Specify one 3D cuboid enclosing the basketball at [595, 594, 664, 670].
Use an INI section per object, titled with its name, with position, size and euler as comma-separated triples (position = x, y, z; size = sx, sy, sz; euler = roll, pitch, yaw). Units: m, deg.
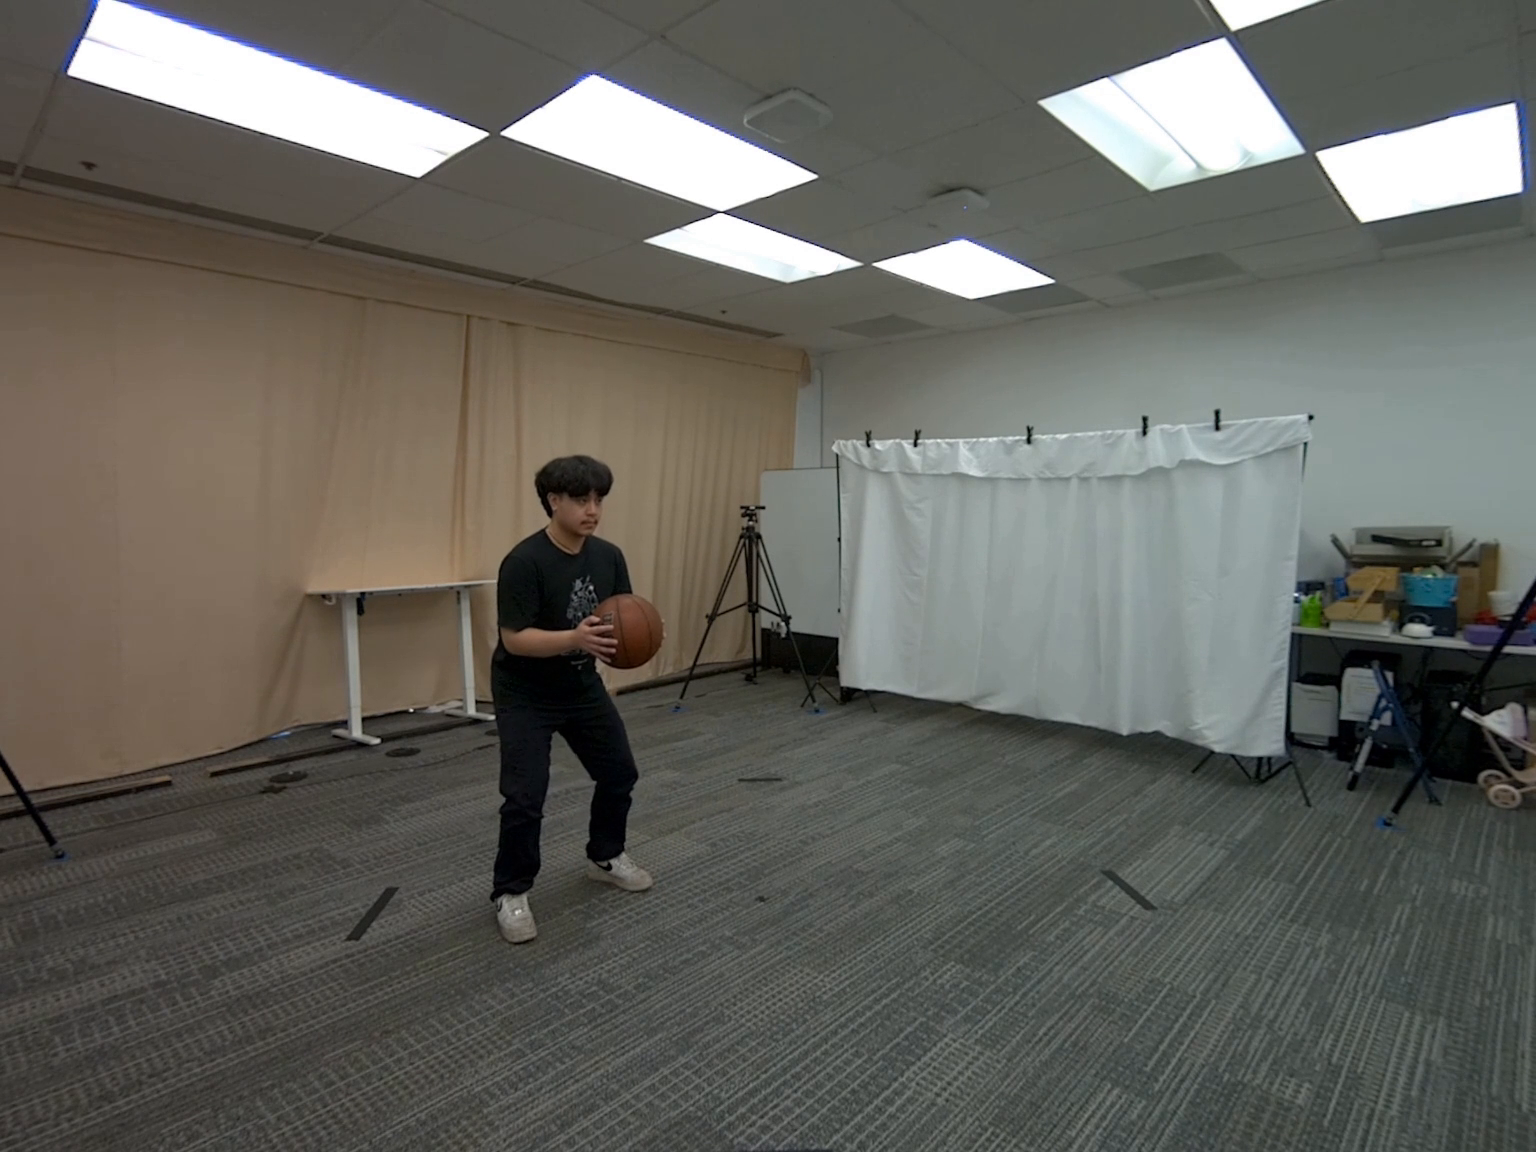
[basketball]
position = -0.450, 0.180, 2.666
size = 0.236, 0.235, 0.237
euler = 0, 4, -2
